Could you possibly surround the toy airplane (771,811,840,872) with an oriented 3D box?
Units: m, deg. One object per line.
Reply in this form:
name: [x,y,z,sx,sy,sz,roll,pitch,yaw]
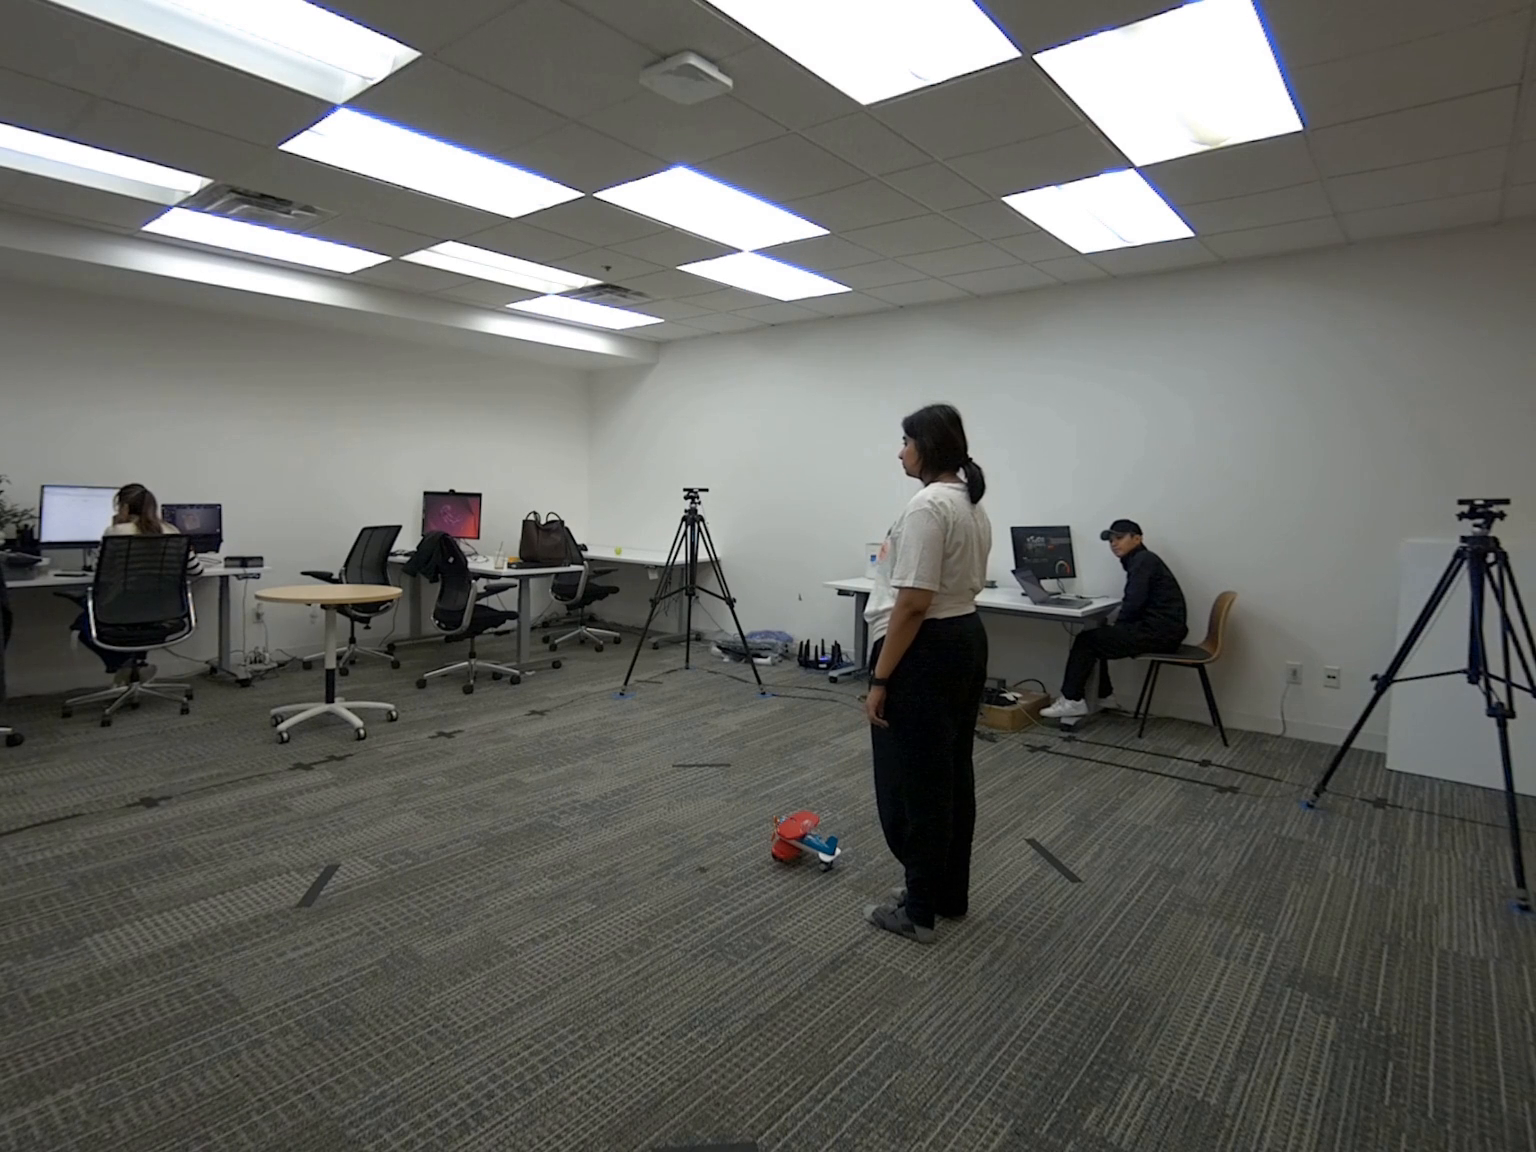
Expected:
toy airplane: [0.137,0.991,3.202,0.260,0.156,0.251,1,4,3]
